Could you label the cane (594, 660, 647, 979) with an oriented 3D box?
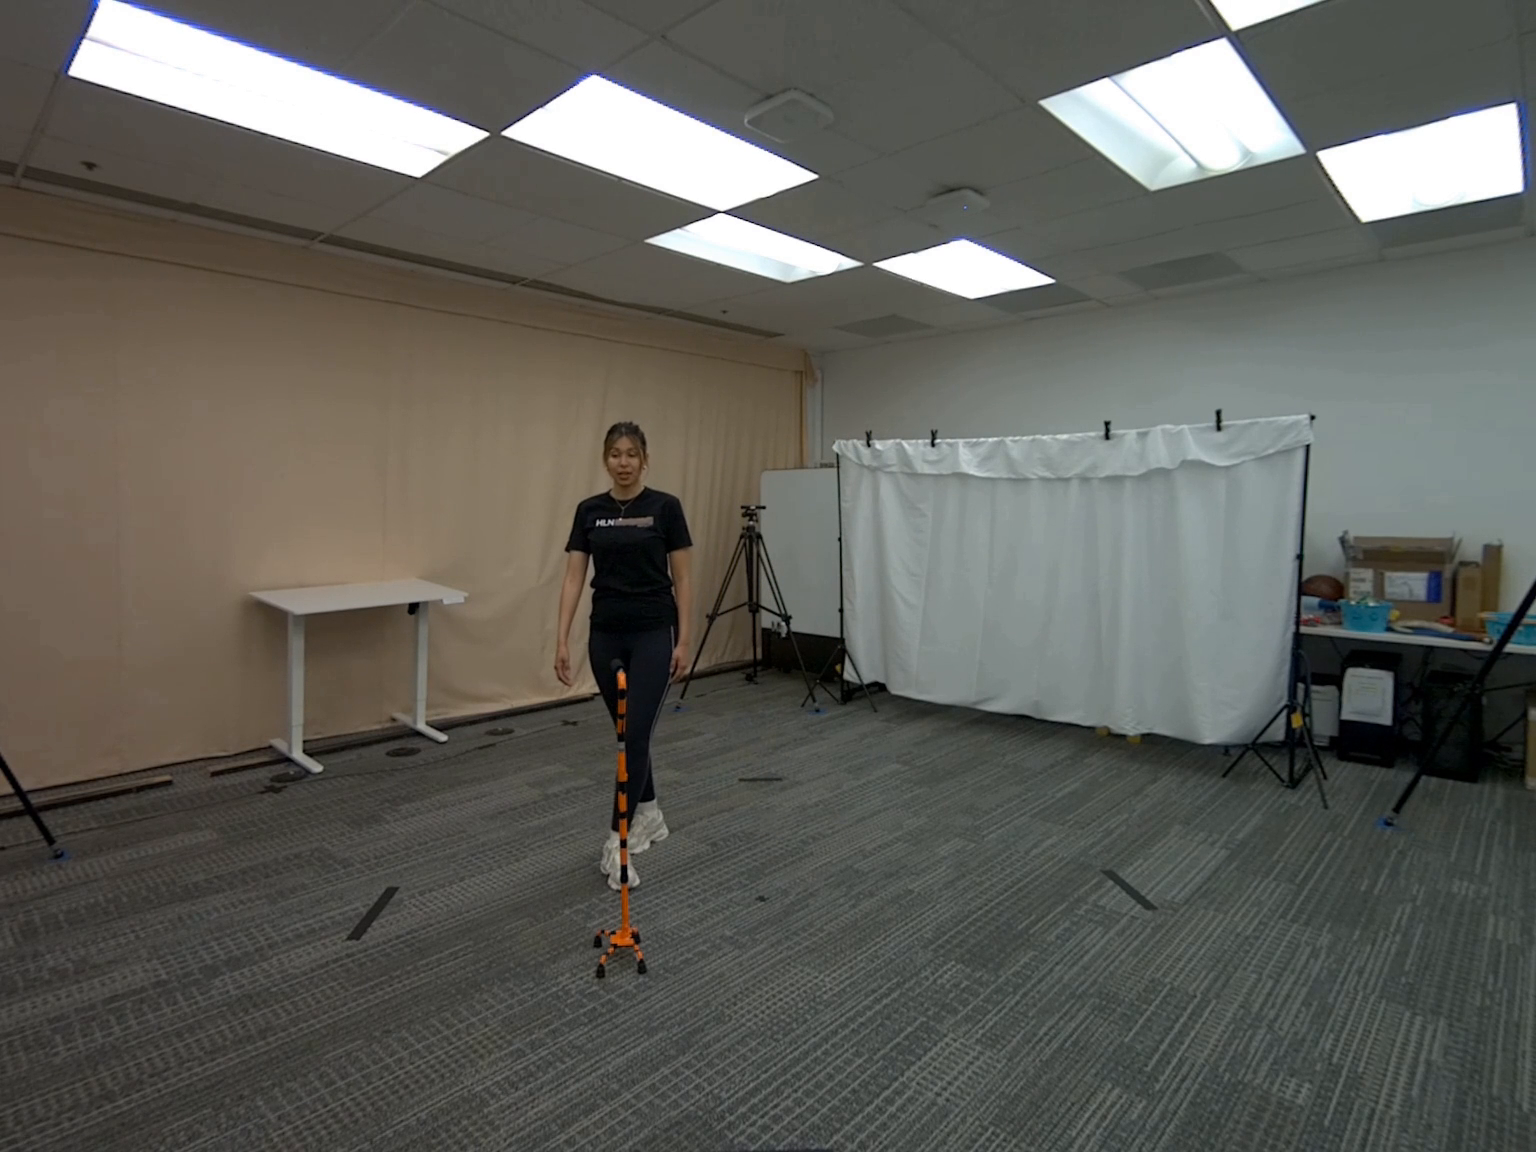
[{"bbox_3d":[-0.459,0.730,2.567,0.149,0.906,0.210,0,3,-15],"label":"cane"}]
